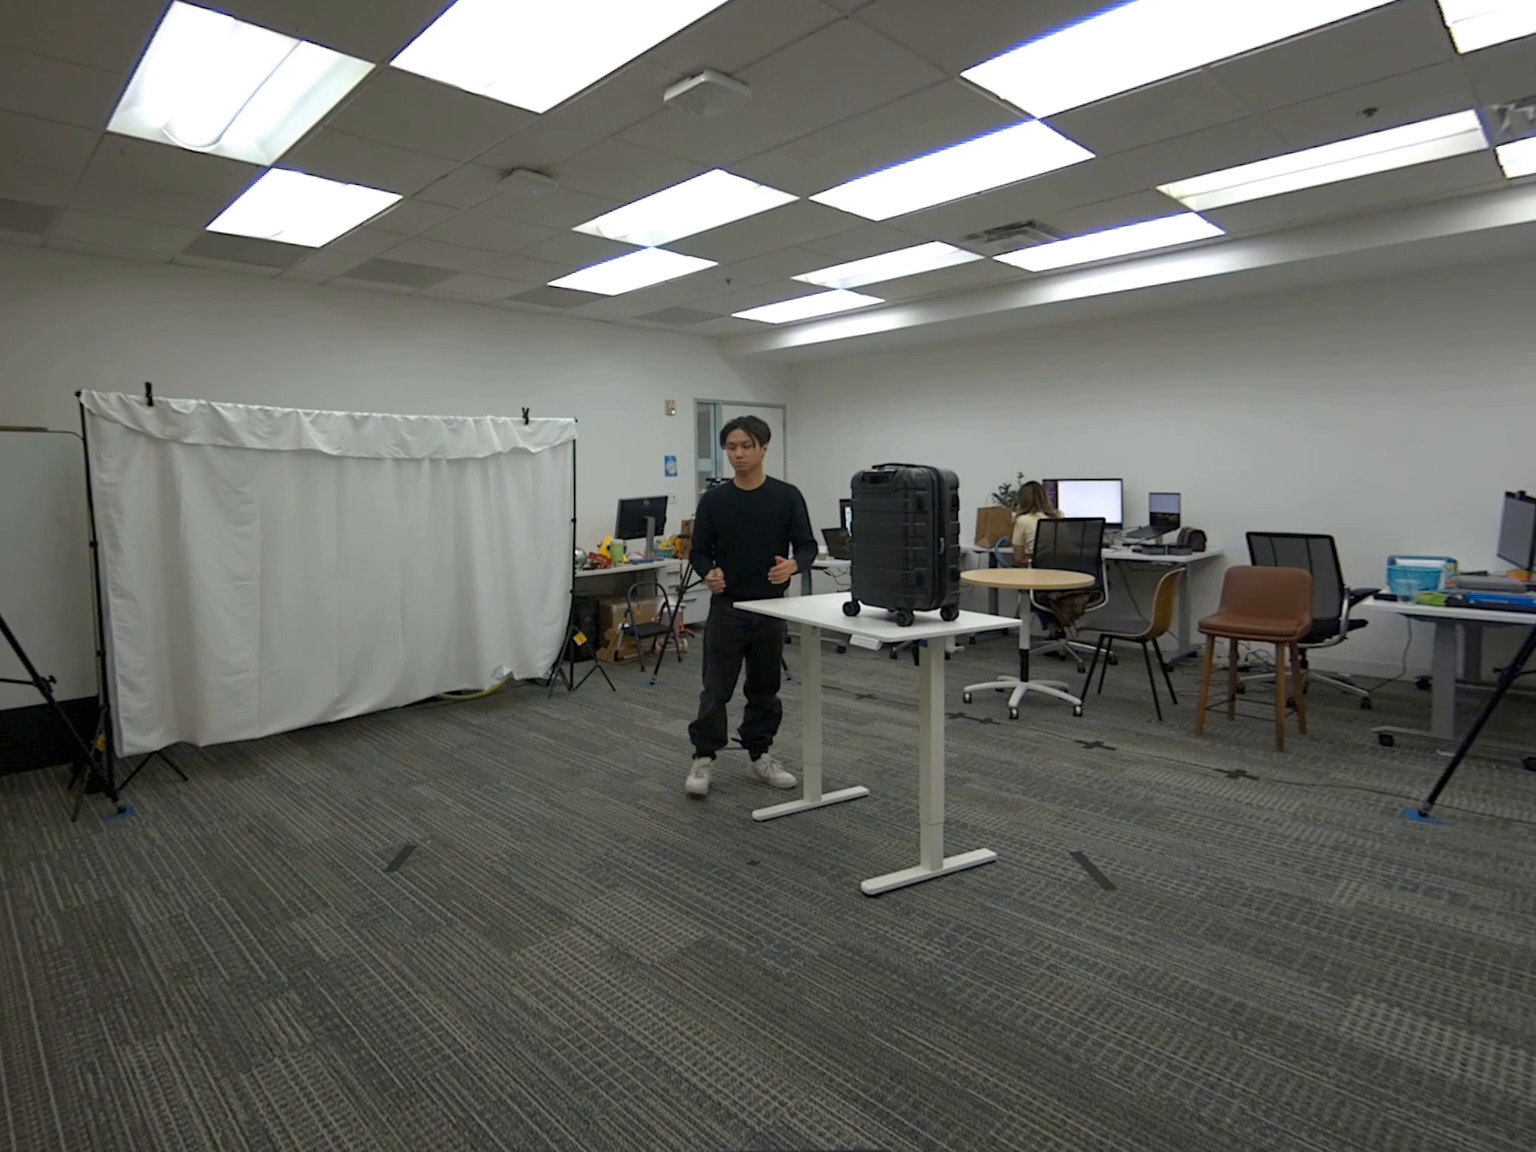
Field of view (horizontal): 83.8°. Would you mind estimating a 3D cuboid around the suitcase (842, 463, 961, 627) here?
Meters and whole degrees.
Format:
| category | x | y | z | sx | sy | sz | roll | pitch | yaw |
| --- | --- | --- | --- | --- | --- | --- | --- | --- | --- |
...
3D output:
| category | x | y | z | sx | sy | sz | roll | pitch | yaw |
| --- | --- | --- | --- | --- | --- | --- | --- | --- | --- |
| suitcase | 0.479 | -0.123 | 3.037 | 0.242 | 0.548 | 0.386 | -2 | 3 | -32 |
